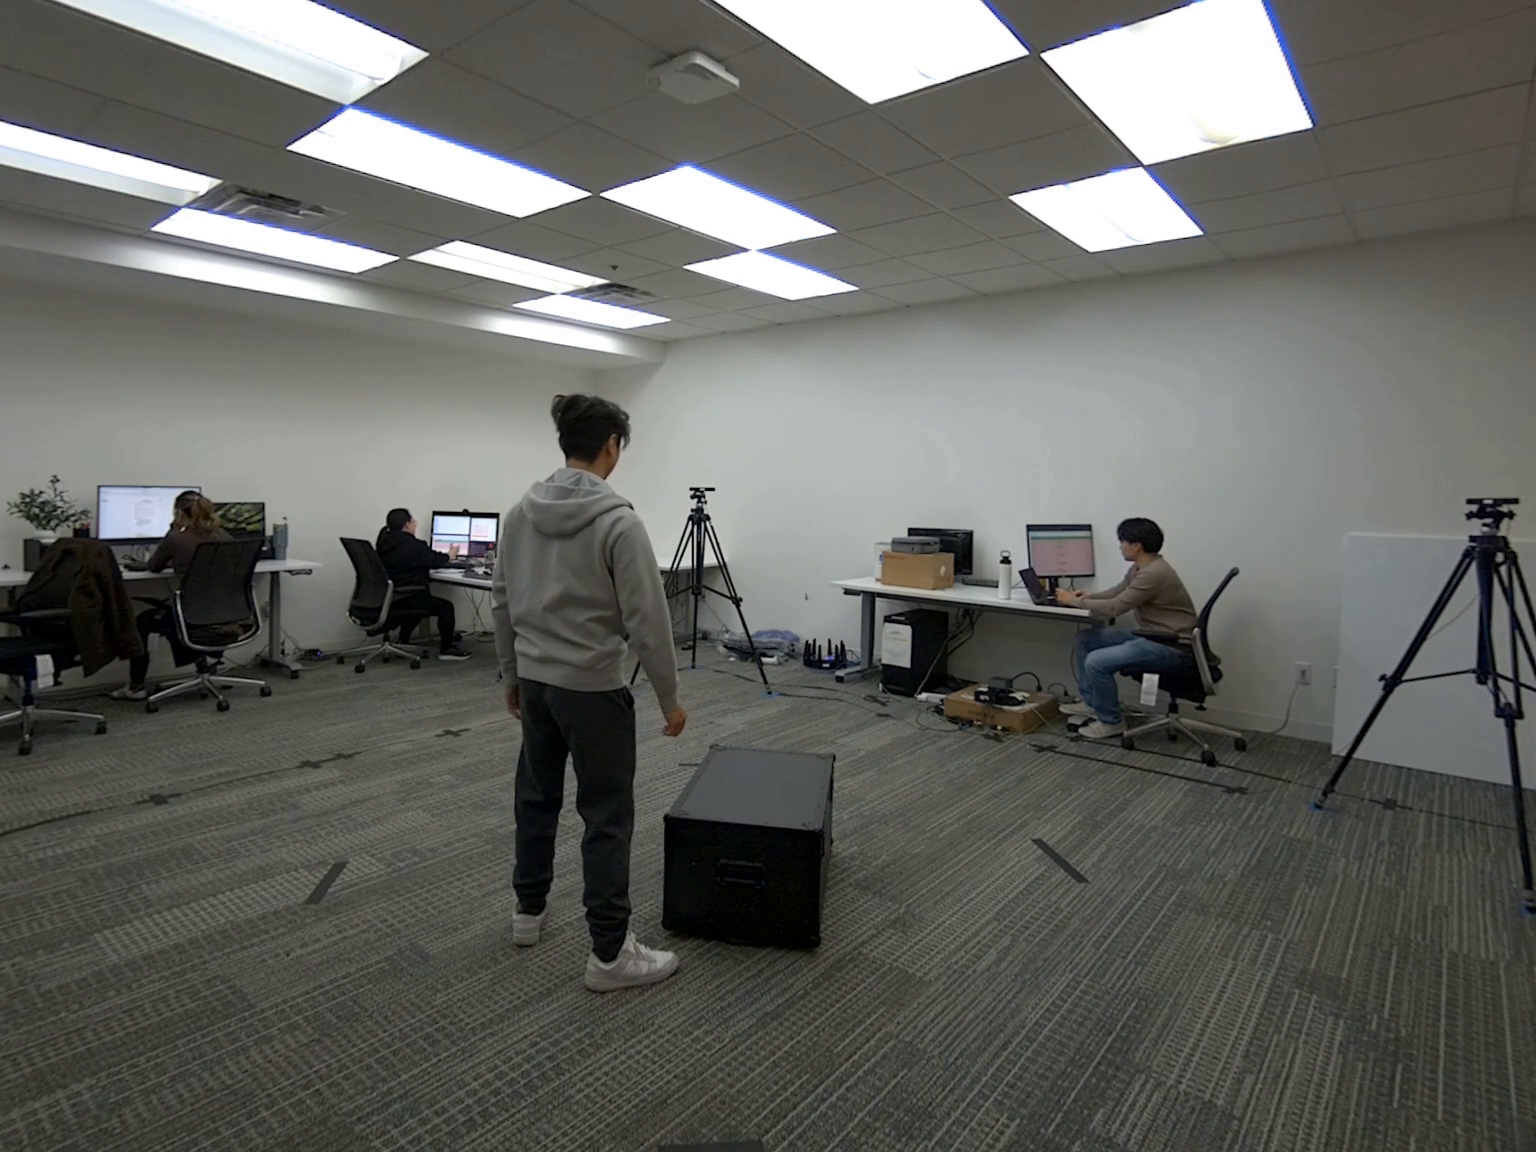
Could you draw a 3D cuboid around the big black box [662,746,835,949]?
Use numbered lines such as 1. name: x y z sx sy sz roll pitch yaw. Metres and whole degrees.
1. big black box: -0.033 0.887 2.982 0.527 0.394 0.857 2 6 8
